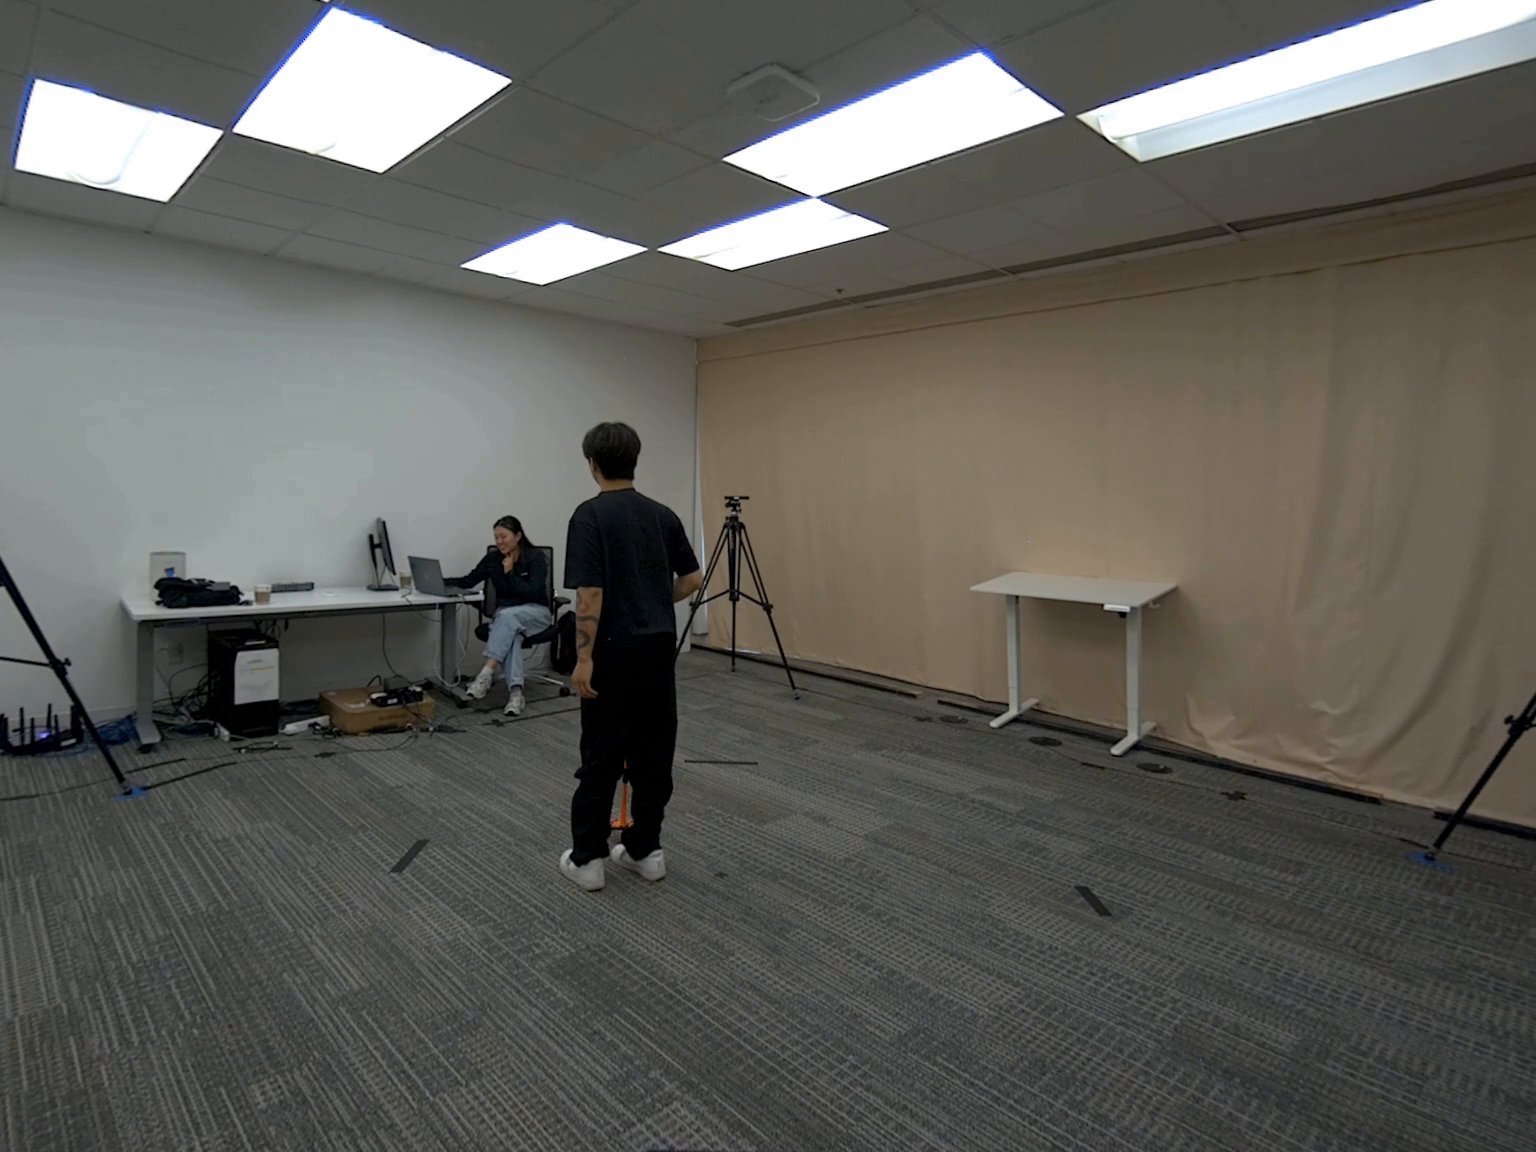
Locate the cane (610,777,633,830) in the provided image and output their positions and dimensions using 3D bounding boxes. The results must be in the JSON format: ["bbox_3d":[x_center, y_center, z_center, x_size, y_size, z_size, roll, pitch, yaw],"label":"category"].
[{"bbox_3d":[-0.565,0.614,3.382,0.206,0.906,0.152,2,2,0],"label":"cane"}]
